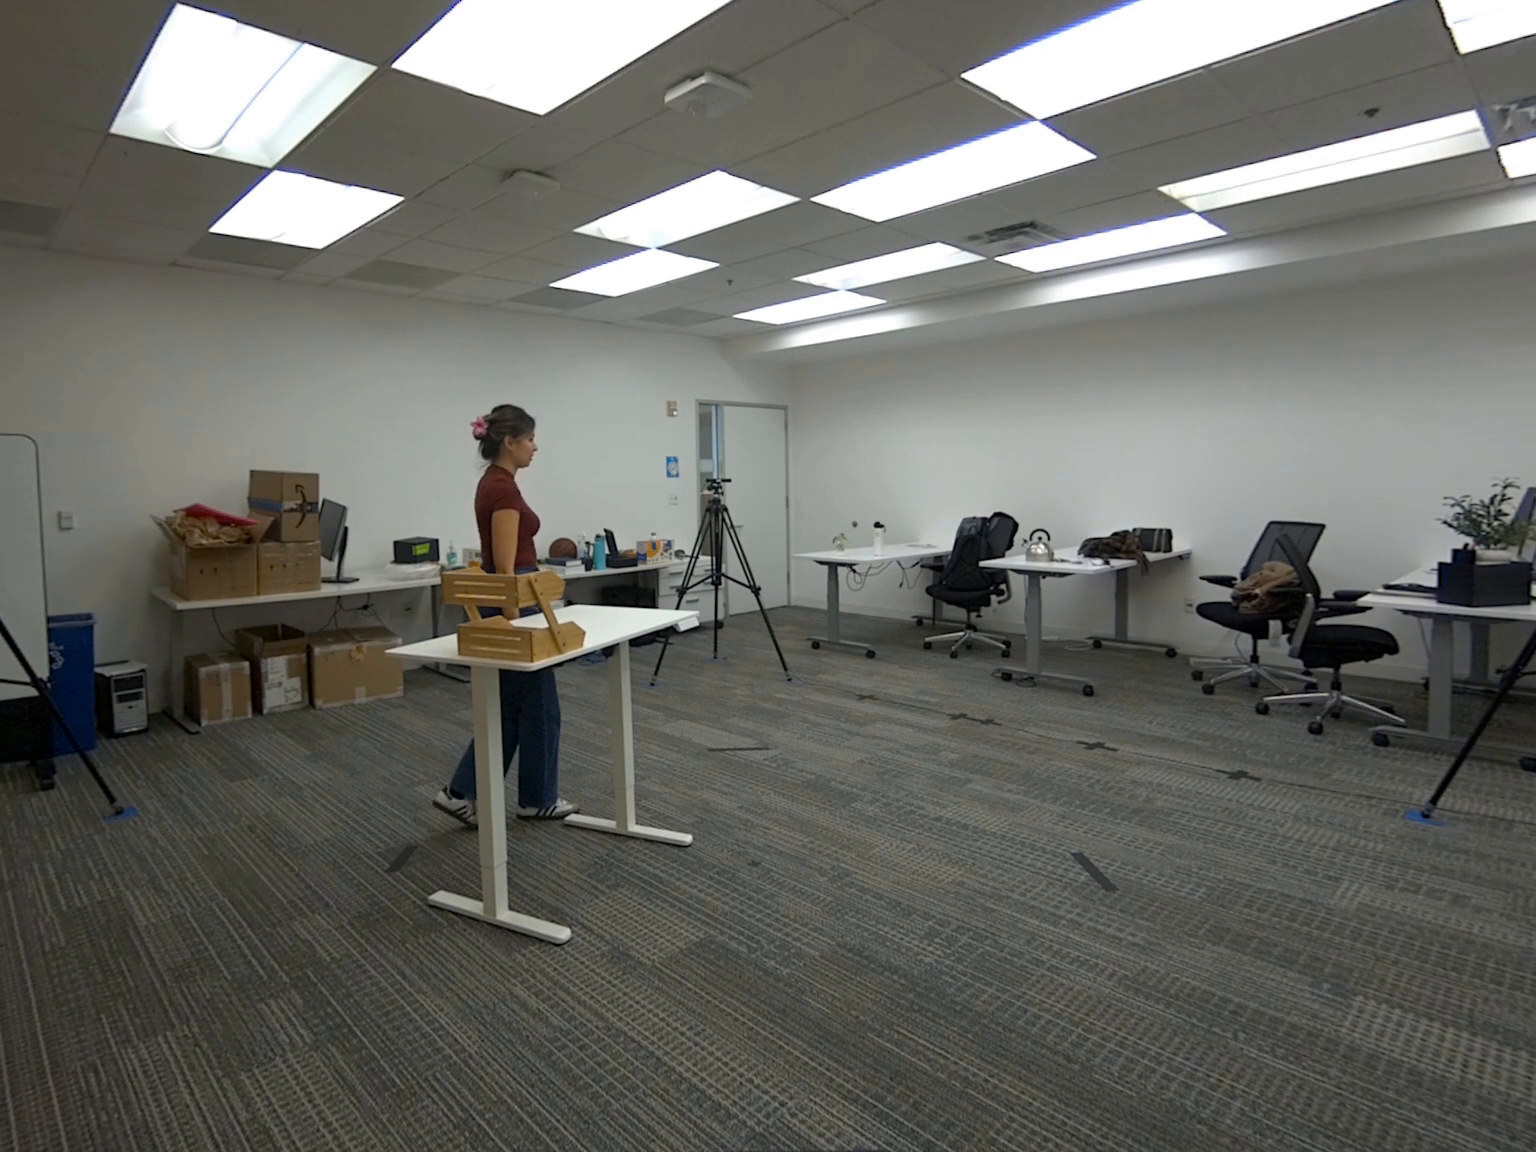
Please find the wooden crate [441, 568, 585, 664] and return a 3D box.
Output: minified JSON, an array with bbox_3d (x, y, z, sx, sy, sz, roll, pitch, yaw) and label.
[{"bbox_3d":[-0.777,0.103,2.620,0.332,0.272,0.296,1,6,27],"label":"wooden crate"}]
